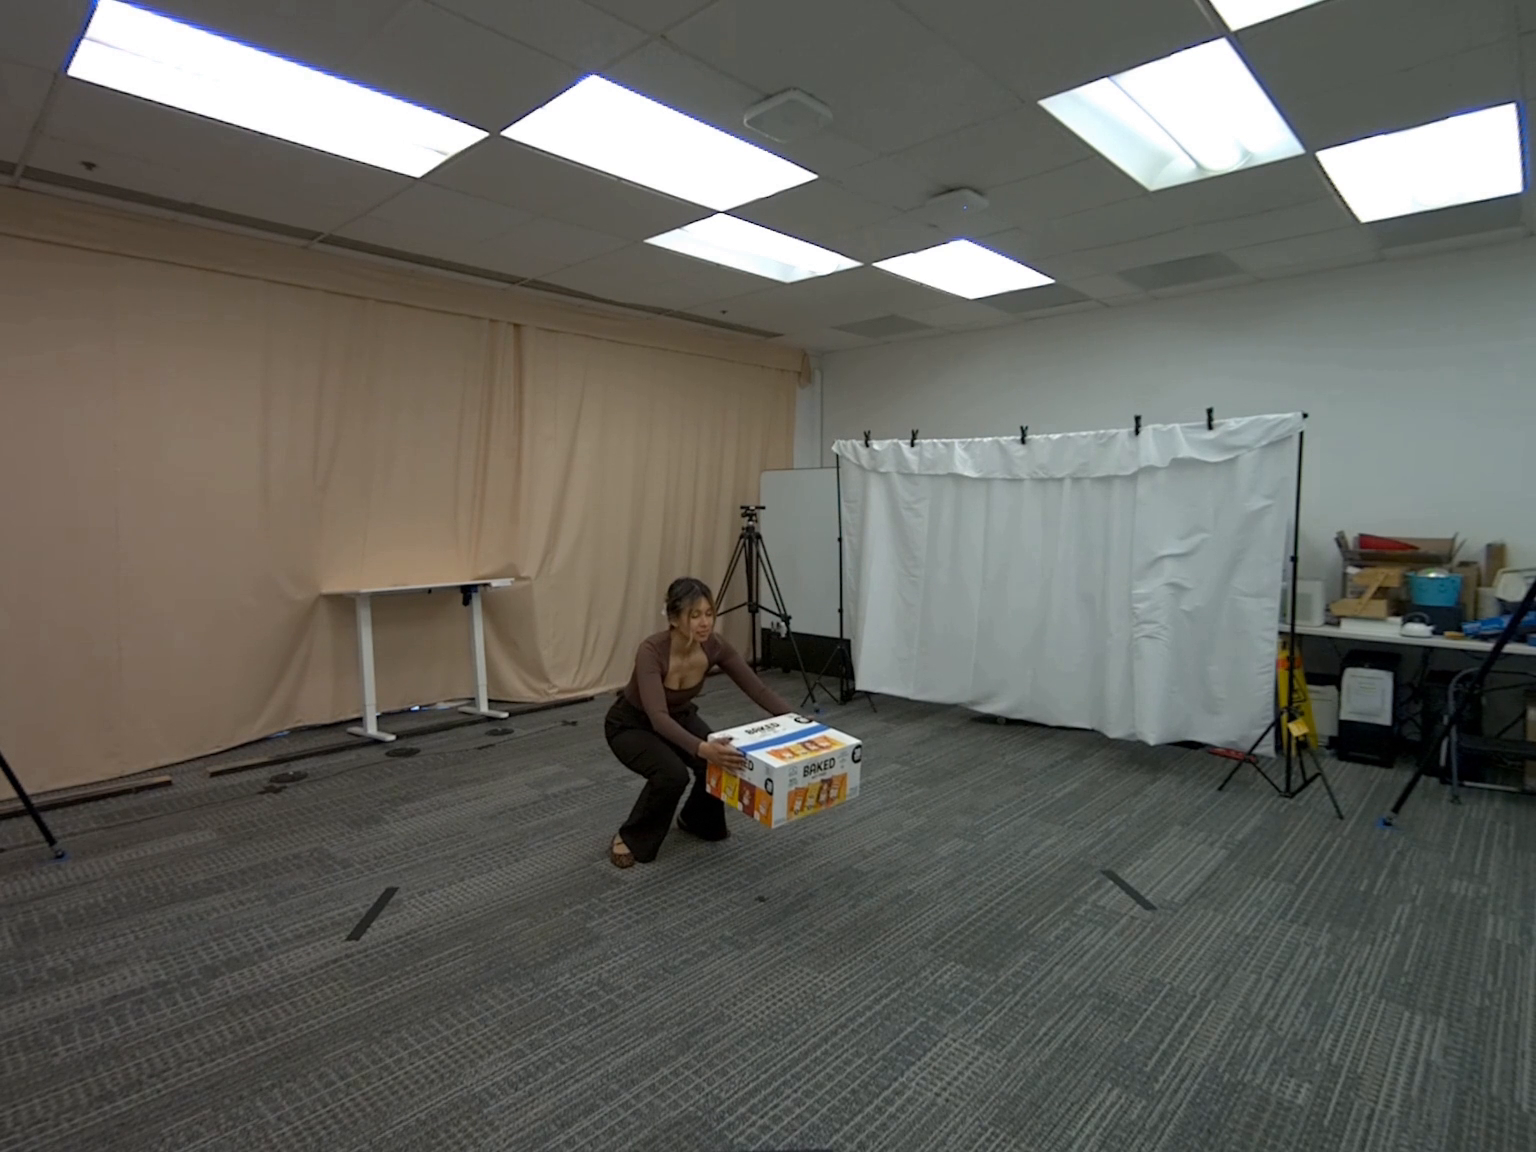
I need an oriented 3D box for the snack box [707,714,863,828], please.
[{"bbox_3d":[0.061,0.648,2.873,0.393,0.204,0.352,-6,12,-40],"label":"snack box"}]
